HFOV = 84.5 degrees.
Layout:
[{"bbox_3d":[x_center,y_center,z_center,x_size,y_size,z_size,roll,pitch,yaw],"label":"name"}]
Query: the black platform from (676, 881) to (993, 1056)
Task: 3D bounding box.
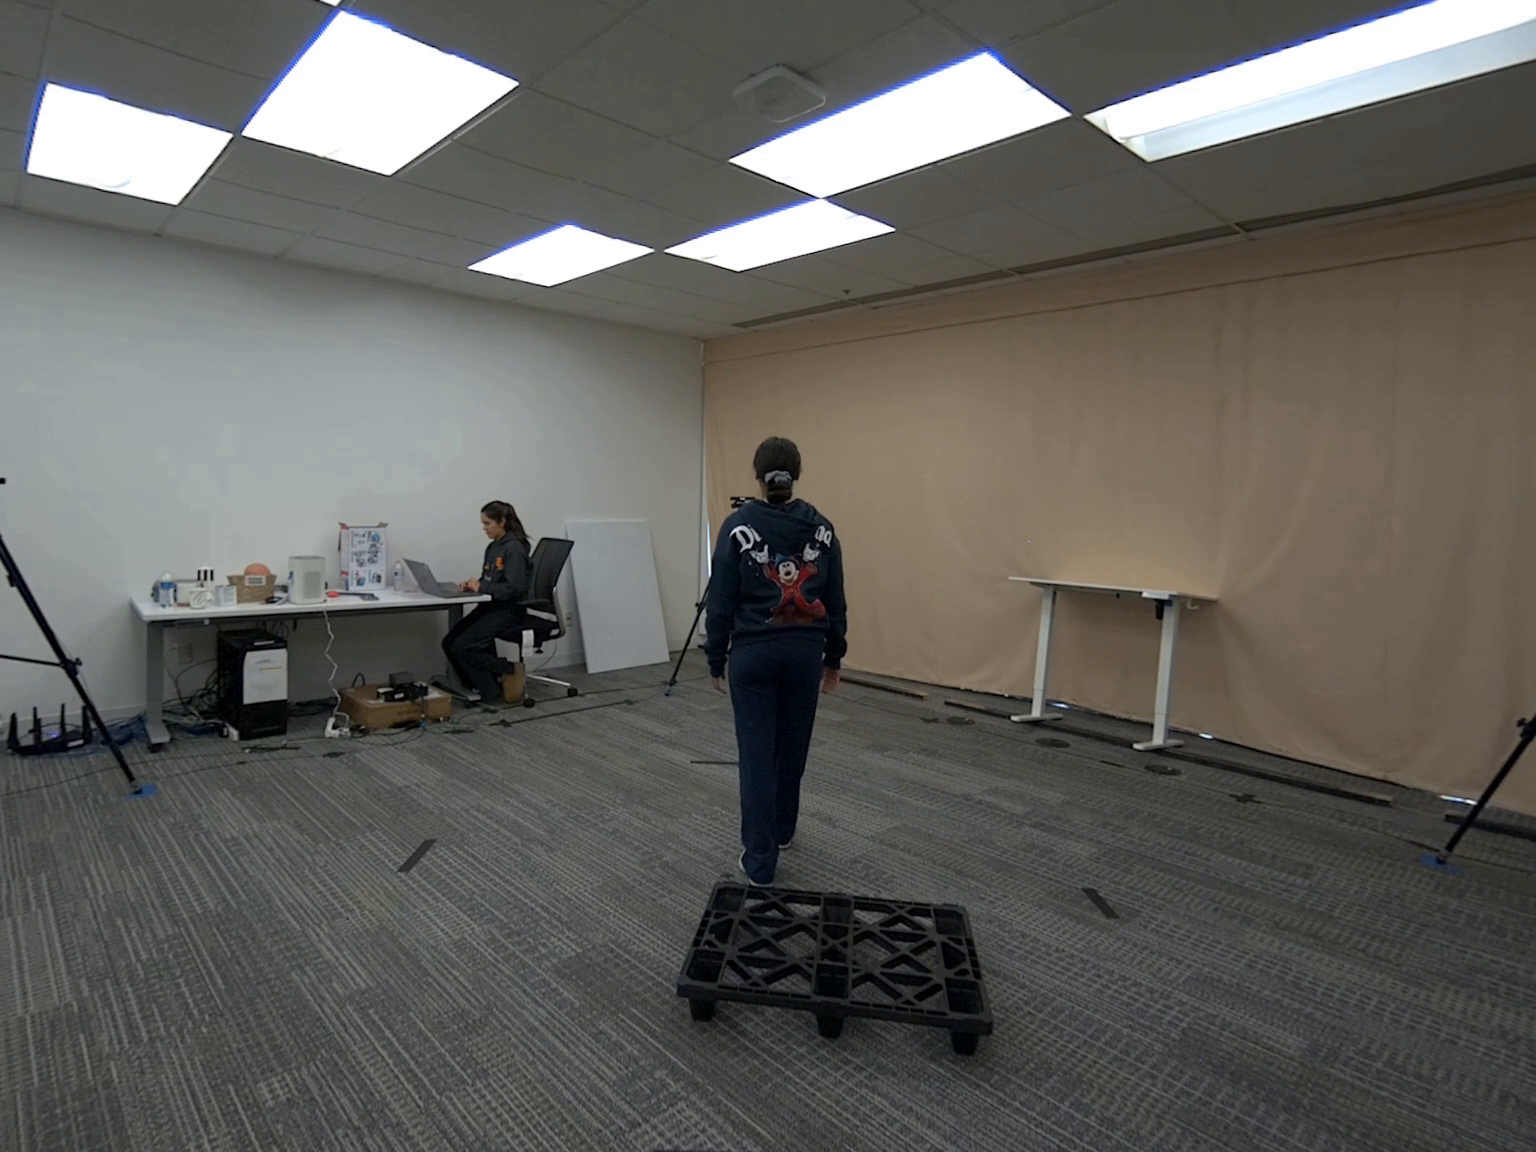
[{"bbox_3d":[0.189,1.111,2.411,0.811,0.143,0.603,2,6,8],"label":"black platform"}]
